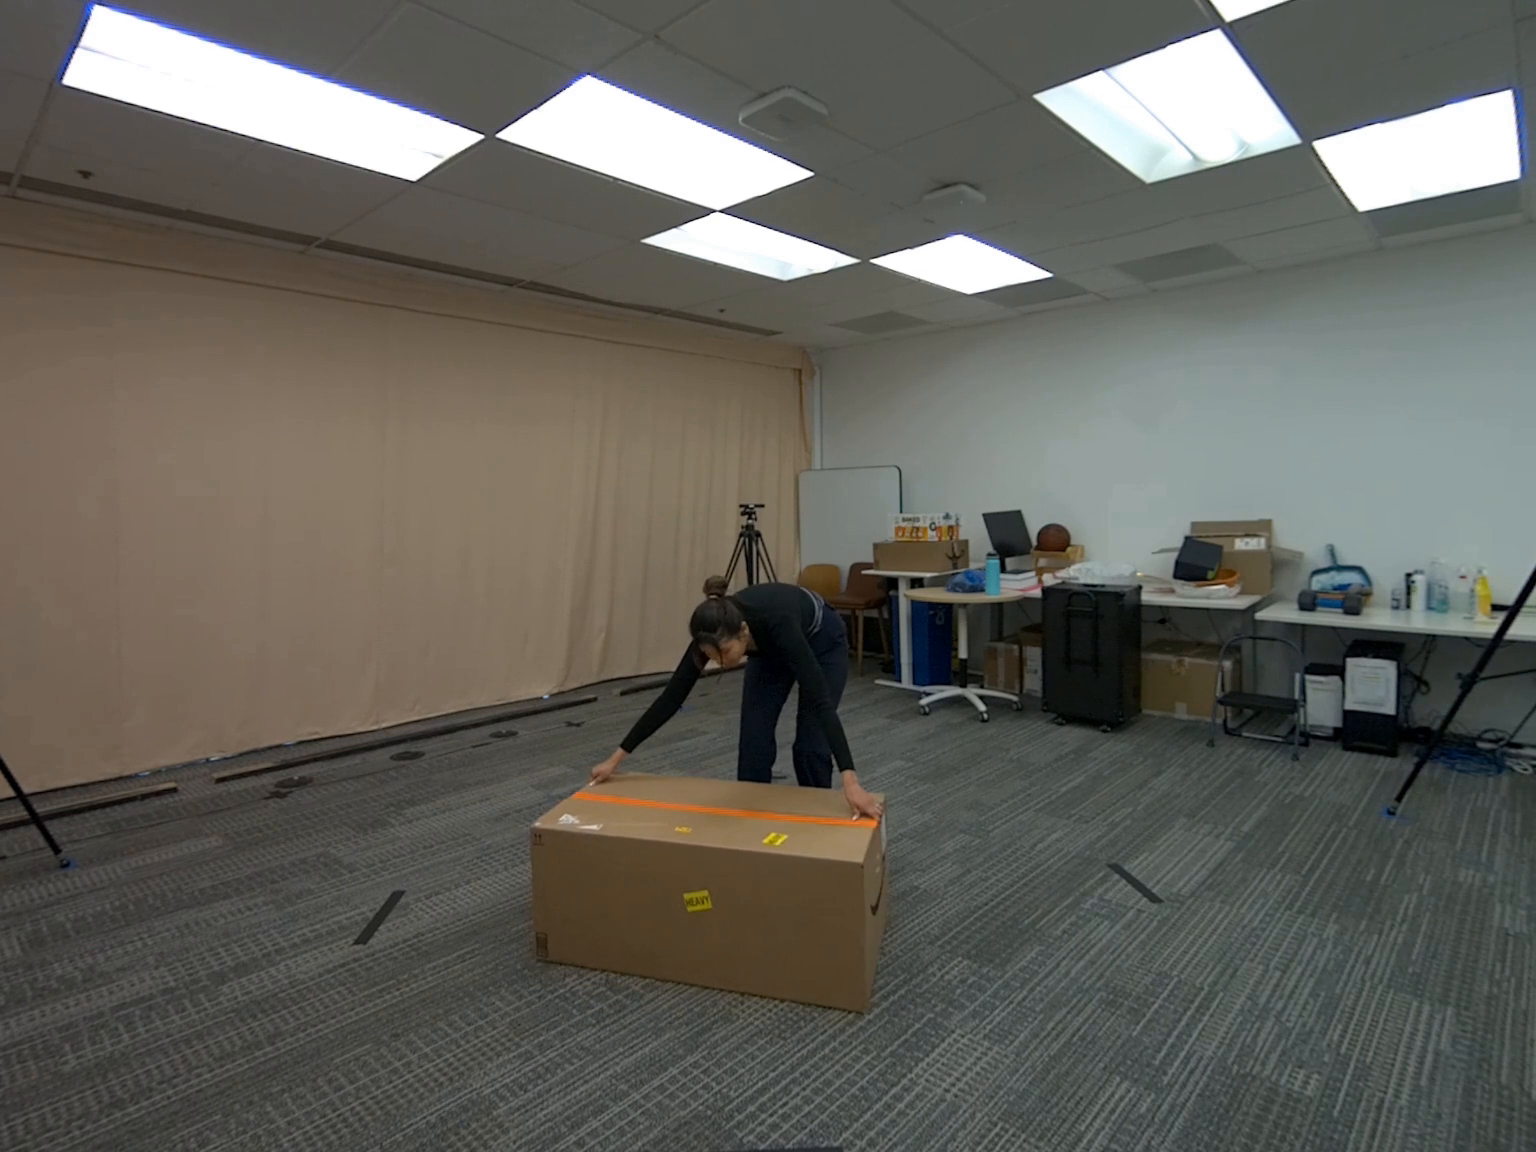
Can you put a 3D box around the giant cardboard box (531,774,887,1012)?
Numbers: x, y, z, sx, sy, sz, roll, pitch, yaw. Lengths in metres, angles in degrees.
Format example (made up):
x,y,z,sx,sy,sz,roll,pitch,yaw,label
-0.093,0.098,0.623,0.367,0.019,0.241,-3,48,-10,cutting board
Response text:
x,y,z,sx,sy,sz,roll,pitch,yaw,label
-0.160,0.949,2.710,1.045,0.425,0.568,1,5,17,giant cardboard box
